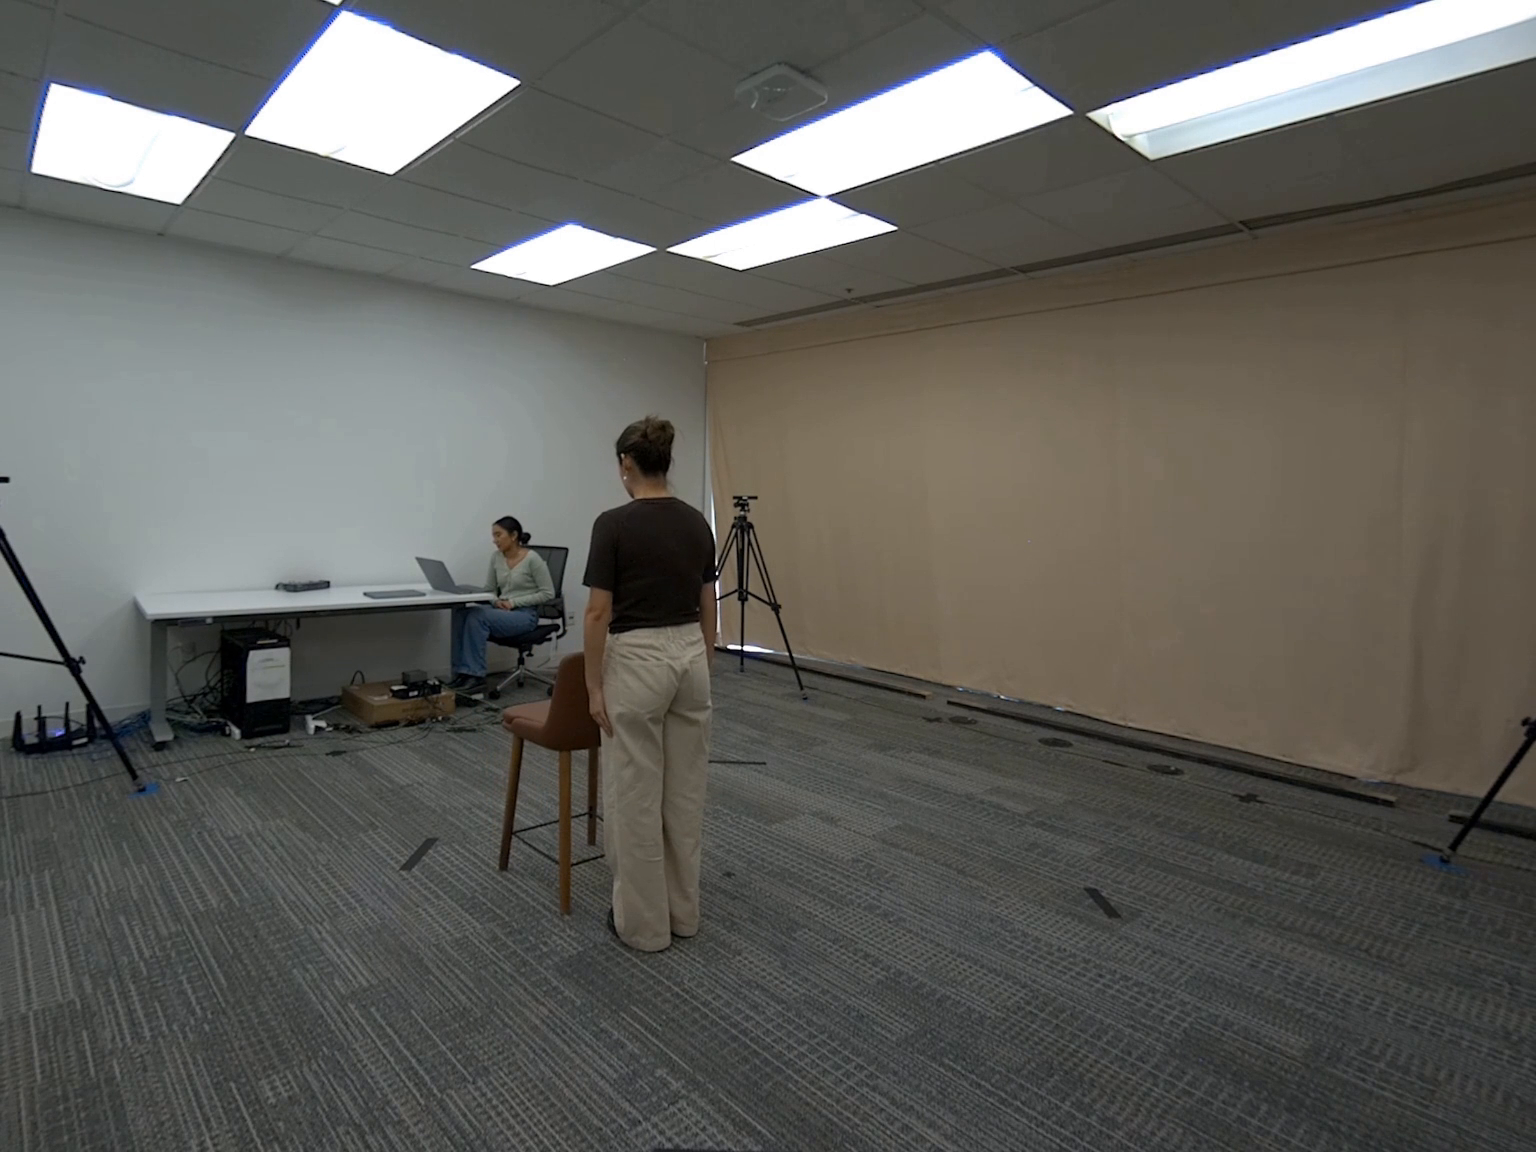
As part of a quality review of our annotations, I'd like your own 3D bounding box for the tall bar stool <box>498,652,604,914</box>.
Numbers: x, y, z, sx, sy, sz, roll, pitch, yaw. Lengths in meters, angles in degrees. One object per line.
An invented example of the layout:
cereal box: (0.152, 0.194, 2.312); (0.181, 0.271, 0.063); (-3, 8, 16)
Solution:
tall bar stool: (-0.683, 0.660, 3.030); (0.446, 0.886, 0.480); (-3, 8, -42)
